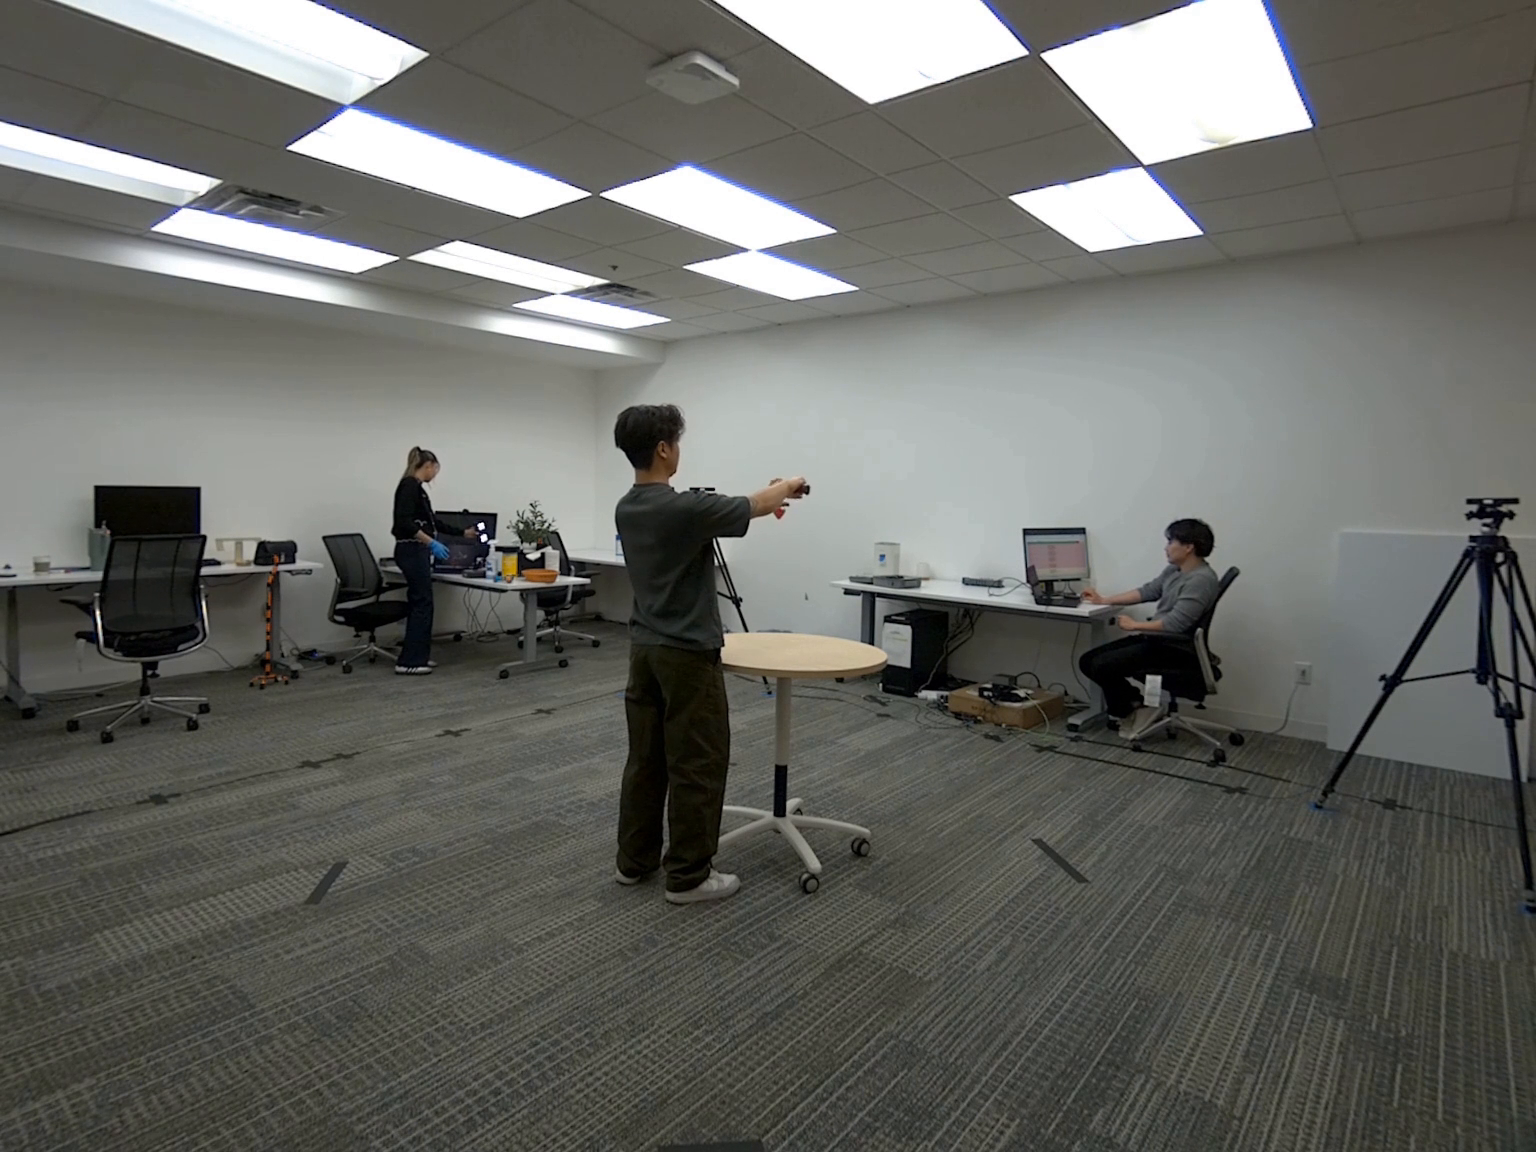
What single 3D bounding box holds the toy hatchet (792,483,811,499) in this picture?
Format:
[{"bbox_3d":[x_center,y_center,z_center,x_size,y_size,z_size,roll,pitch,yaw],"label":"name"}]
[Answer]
[{"bbox_3d":[0.065,-0.282,3.208,0.029,0.130,0.276,1,5,-20],"label":"toy hatchet"}]
